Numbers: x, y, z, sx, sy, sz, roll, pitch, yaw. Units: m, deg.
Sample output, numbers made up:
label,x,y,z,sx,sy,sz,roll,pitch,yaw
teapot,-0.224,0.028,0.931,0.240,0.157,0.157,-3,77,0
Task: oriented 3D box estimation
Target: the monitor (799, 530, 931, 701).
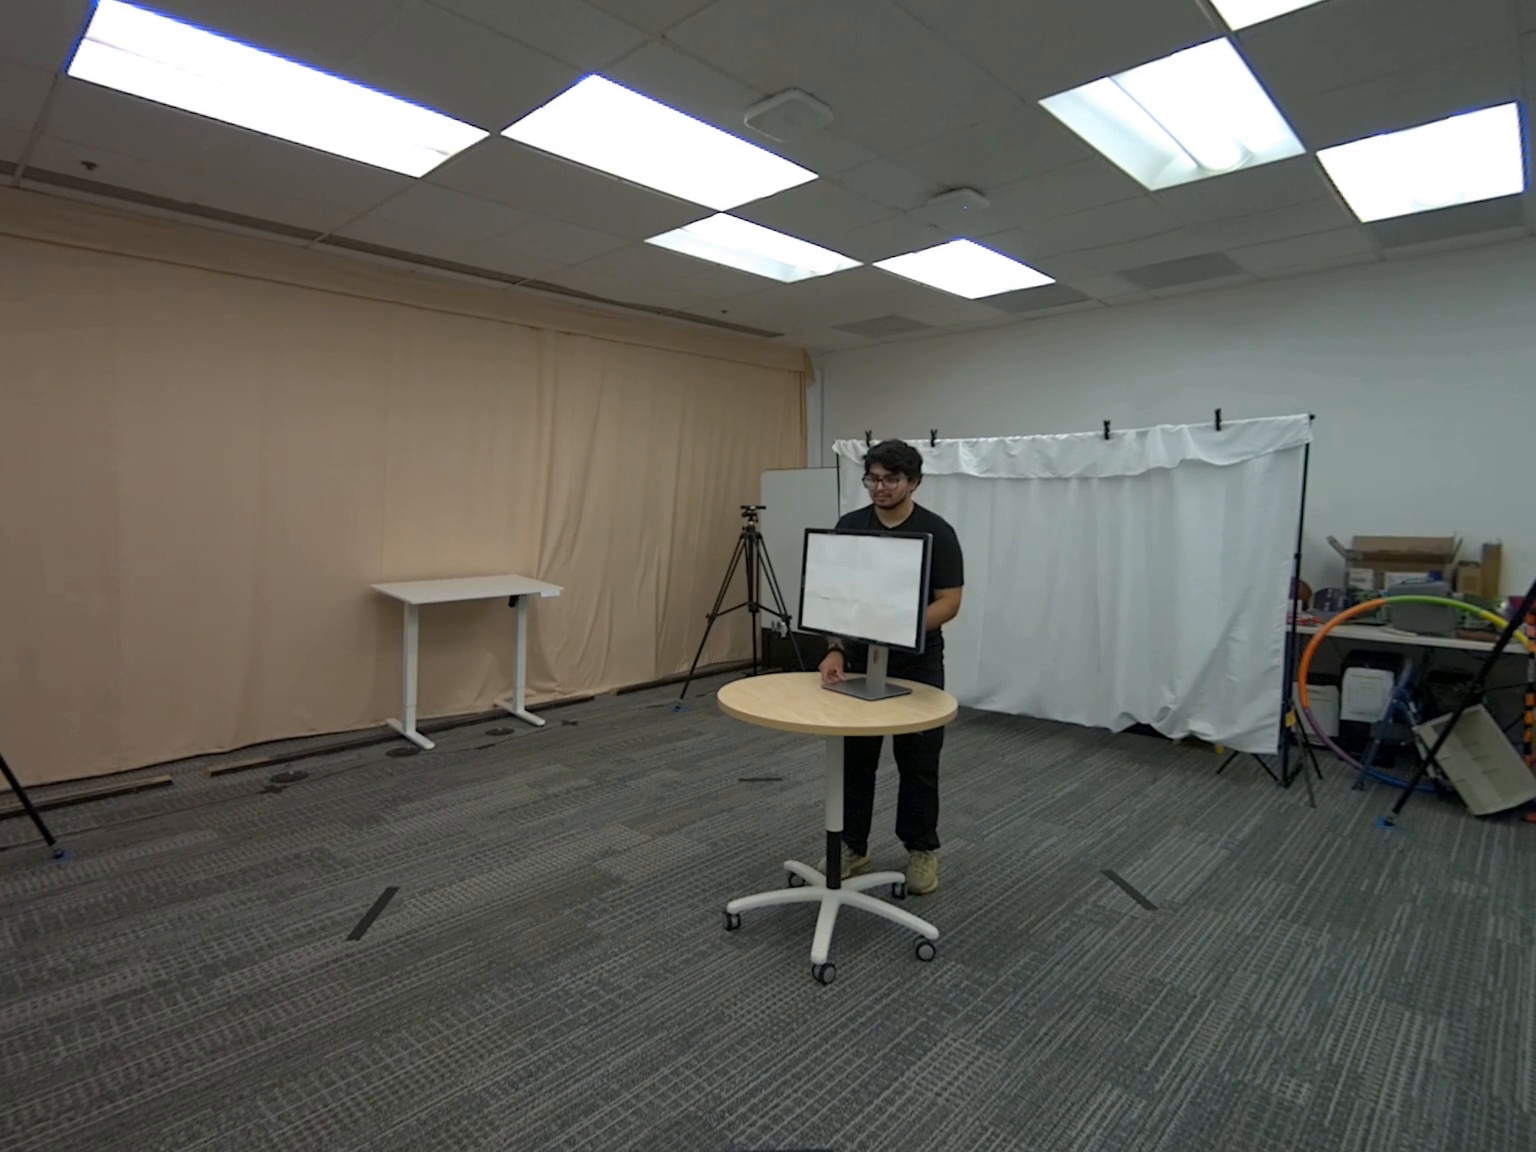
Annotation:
label,x,y,z,sx,sy,sz,roll,pitch,yaw
monitor,0.355,0.119,2.810,0.204,0.553,0.584,0,4,-38
